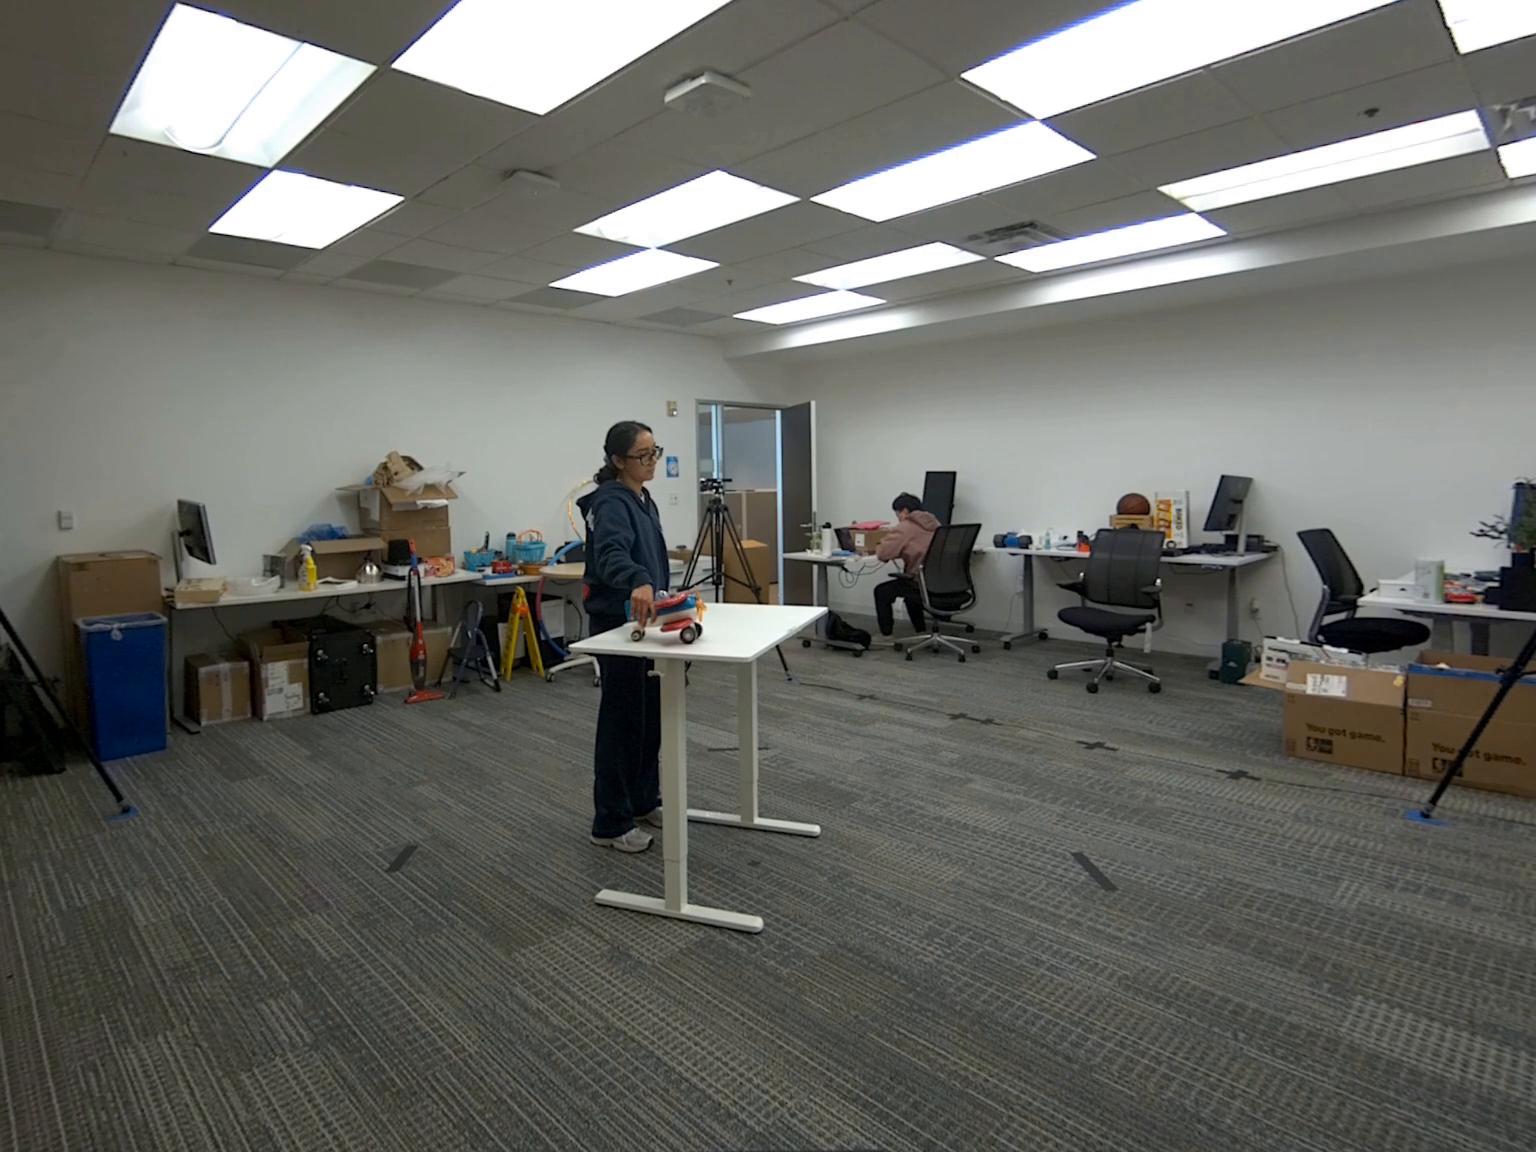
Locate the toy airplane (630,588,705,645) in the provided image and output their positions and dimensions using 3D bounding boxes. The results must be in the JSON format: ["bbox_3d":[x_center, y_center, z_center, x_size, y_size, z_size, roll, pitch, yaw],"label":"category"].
[{"bbox_3d":[-0.327,0.136,2.712,0.255,0.156,0.256,-3,5,-19],"label":"toy airplane"}]
